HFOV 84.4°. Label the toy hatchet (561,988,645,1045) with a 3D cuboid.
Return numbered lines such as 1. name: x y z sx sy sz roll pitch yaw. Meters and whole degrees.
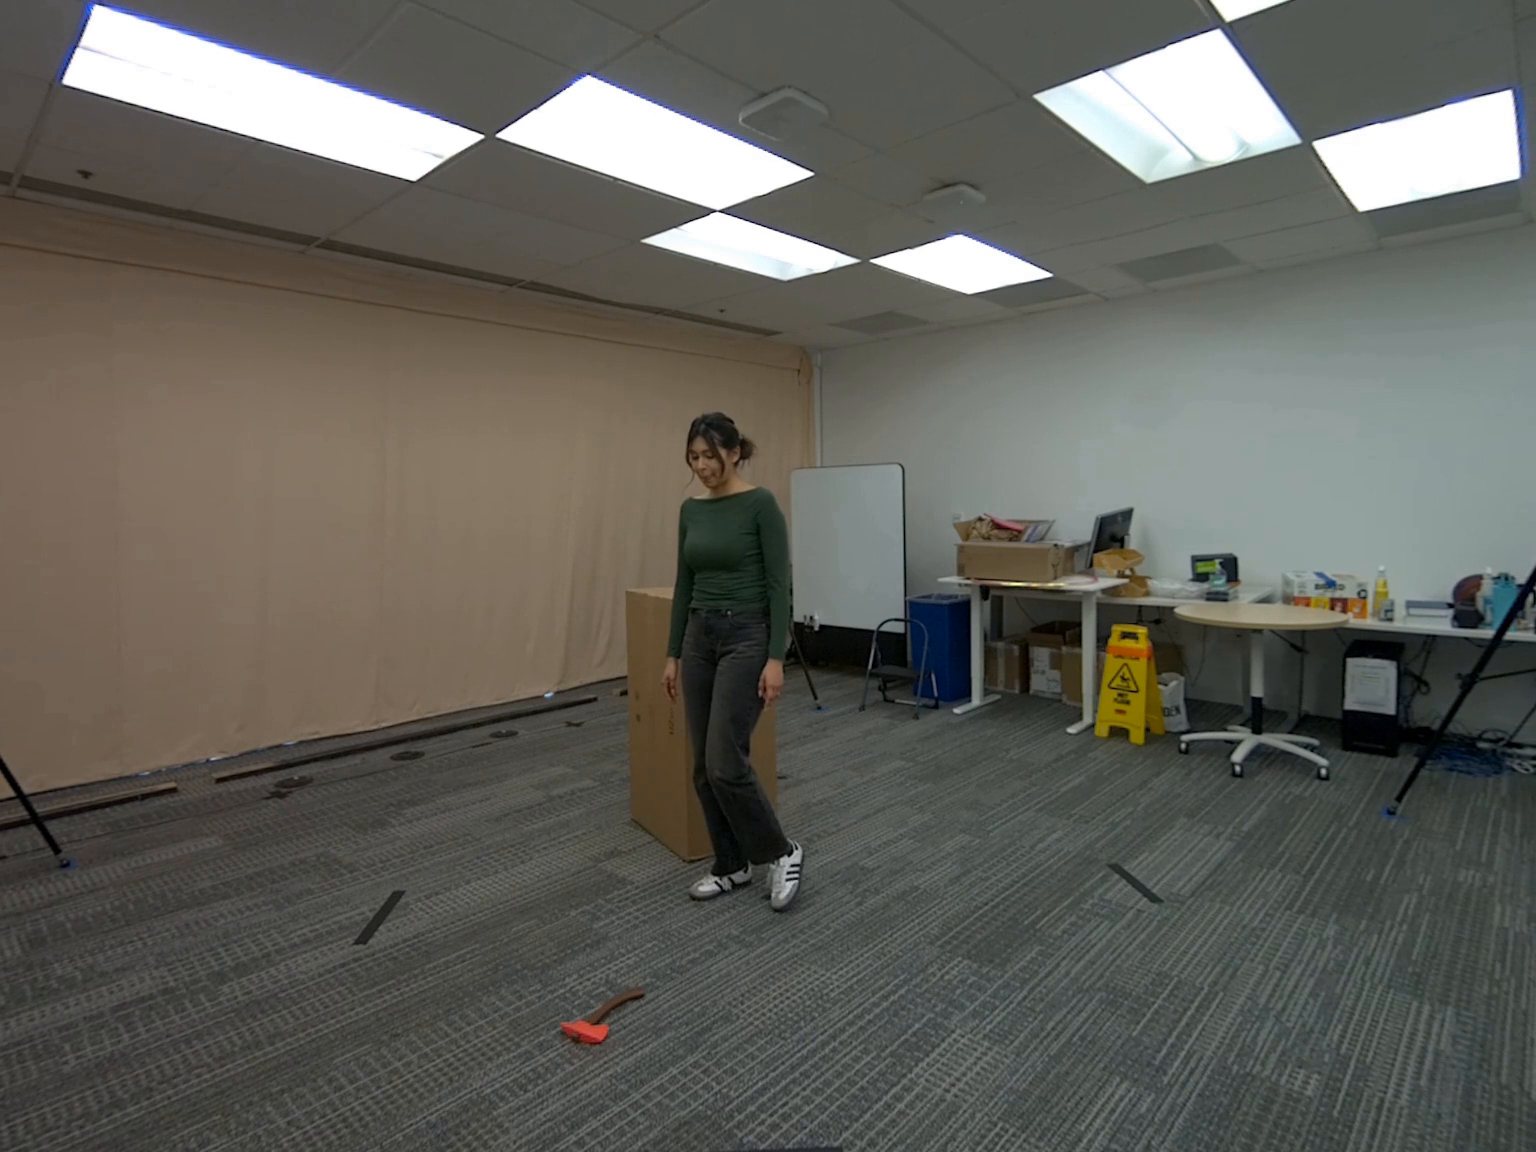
1. toy hatchet: -0.420 1.190 2.289 0.135 0.029 0.262 3 5 44
